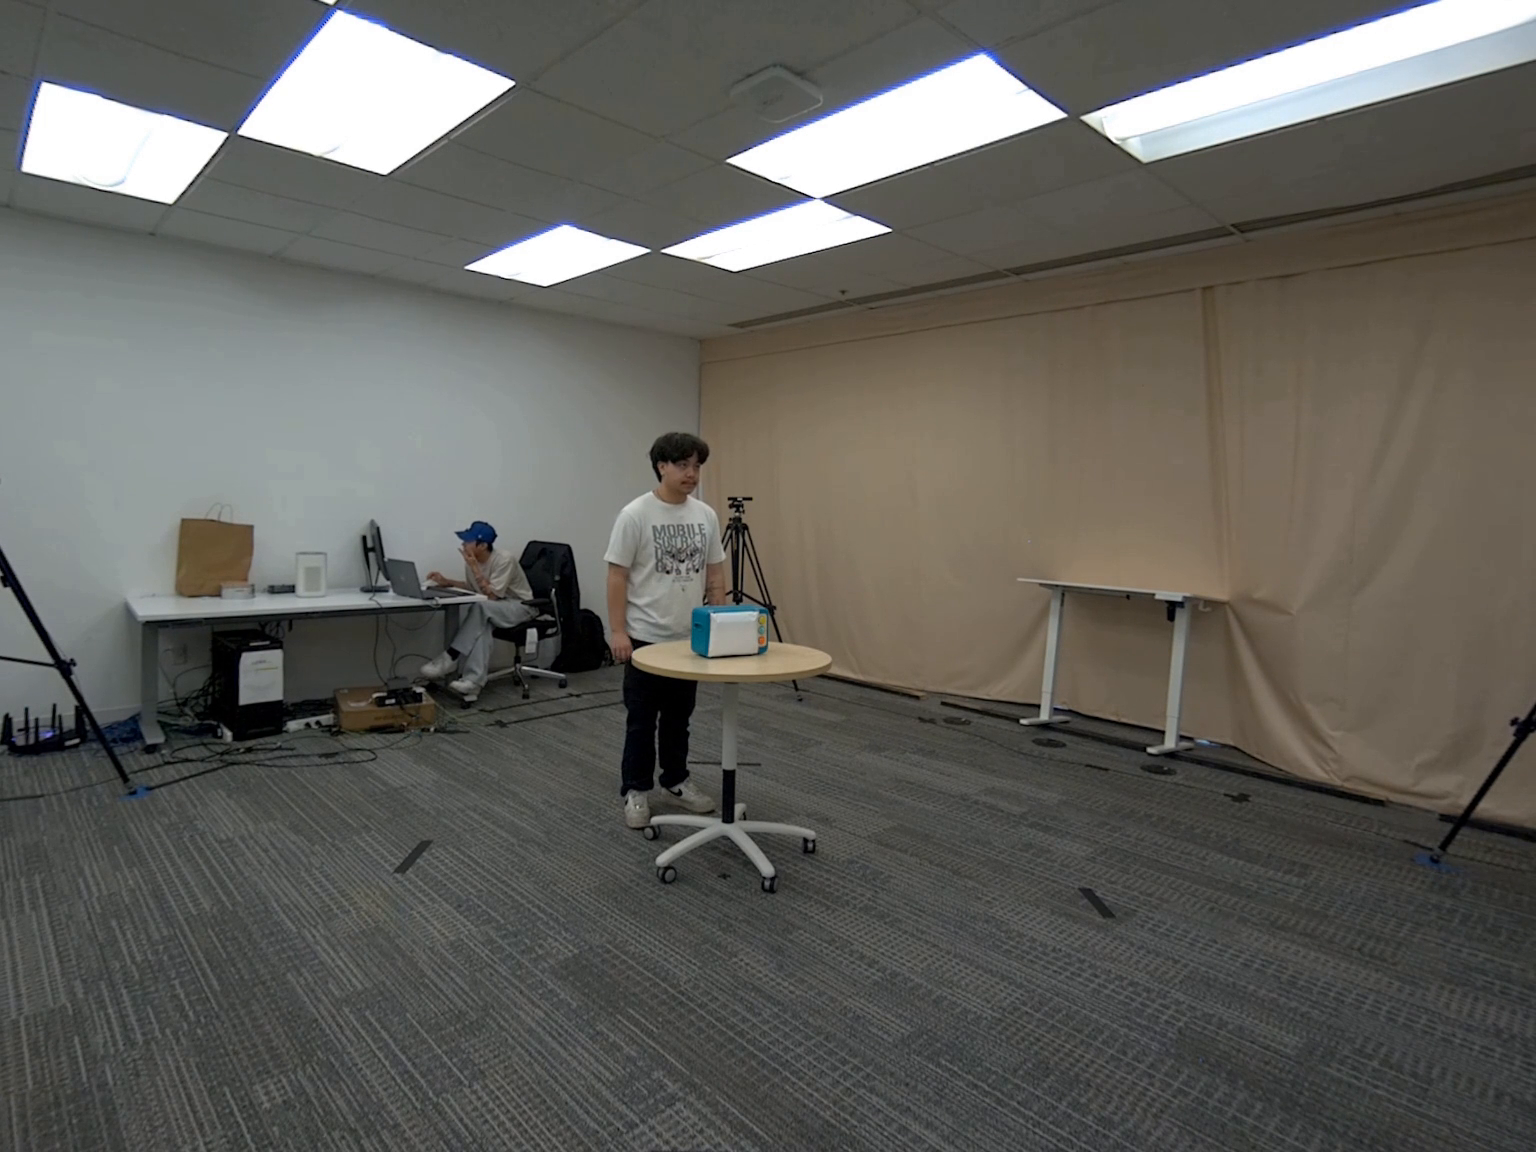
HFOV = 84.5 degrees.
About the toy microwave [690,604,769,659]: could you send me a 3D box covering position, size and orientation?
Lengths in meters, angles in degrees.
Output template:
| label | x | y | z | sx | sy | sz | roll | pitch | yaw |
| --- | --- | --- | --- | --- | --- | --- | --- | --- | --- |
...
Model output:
| label | x | y | z | sx | sy | sz | roll | pitch | yaw |
| --- | --- | --- | --- | --- | --- | --- | --- | --- | --- |
| toy microwave | -0.148 | 0.210 | 3.237 | 0.280 | 0.184 | 0.156 | -1 | 4 | -31 |
